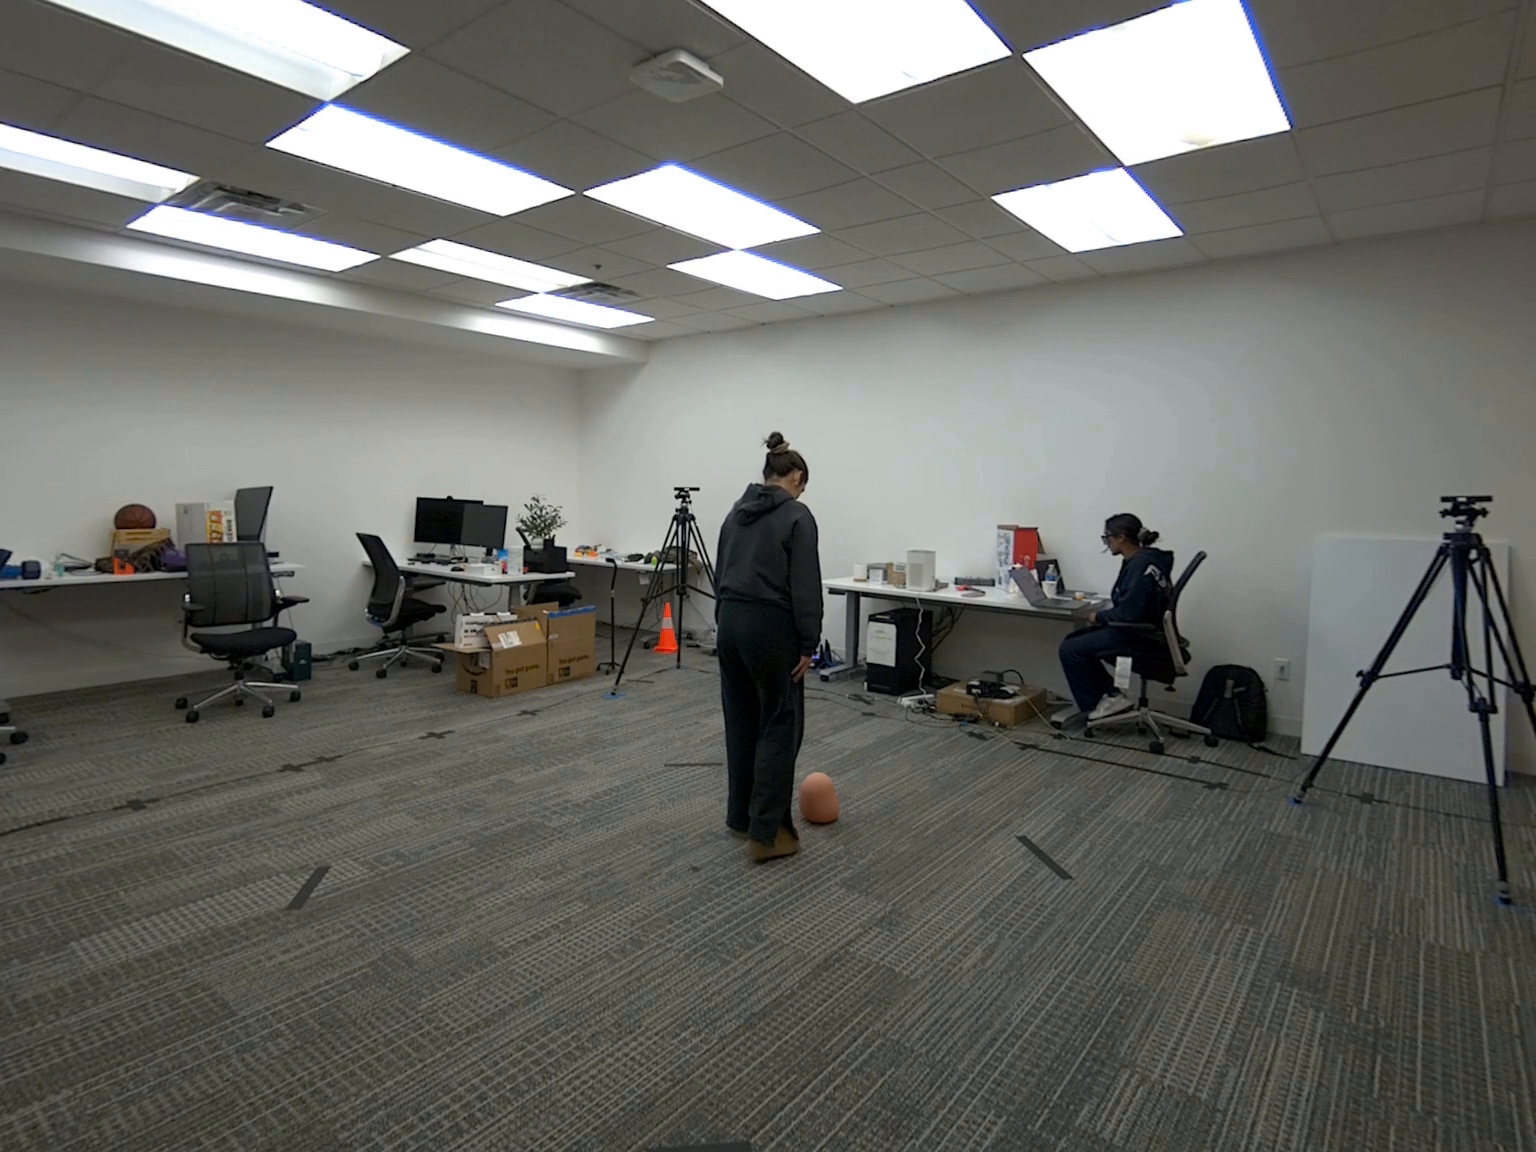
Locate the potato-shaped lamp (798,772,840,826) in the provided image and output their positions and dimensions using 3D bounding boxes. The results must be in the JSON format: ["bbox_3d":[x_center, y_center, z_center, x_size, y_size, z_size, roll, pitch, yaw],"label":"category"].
[{"bbox_3d":[0.209,0.927,3.593,0.166,0.198,0.170,0,4,-44],"label":"potato-shaped lamp"}]
